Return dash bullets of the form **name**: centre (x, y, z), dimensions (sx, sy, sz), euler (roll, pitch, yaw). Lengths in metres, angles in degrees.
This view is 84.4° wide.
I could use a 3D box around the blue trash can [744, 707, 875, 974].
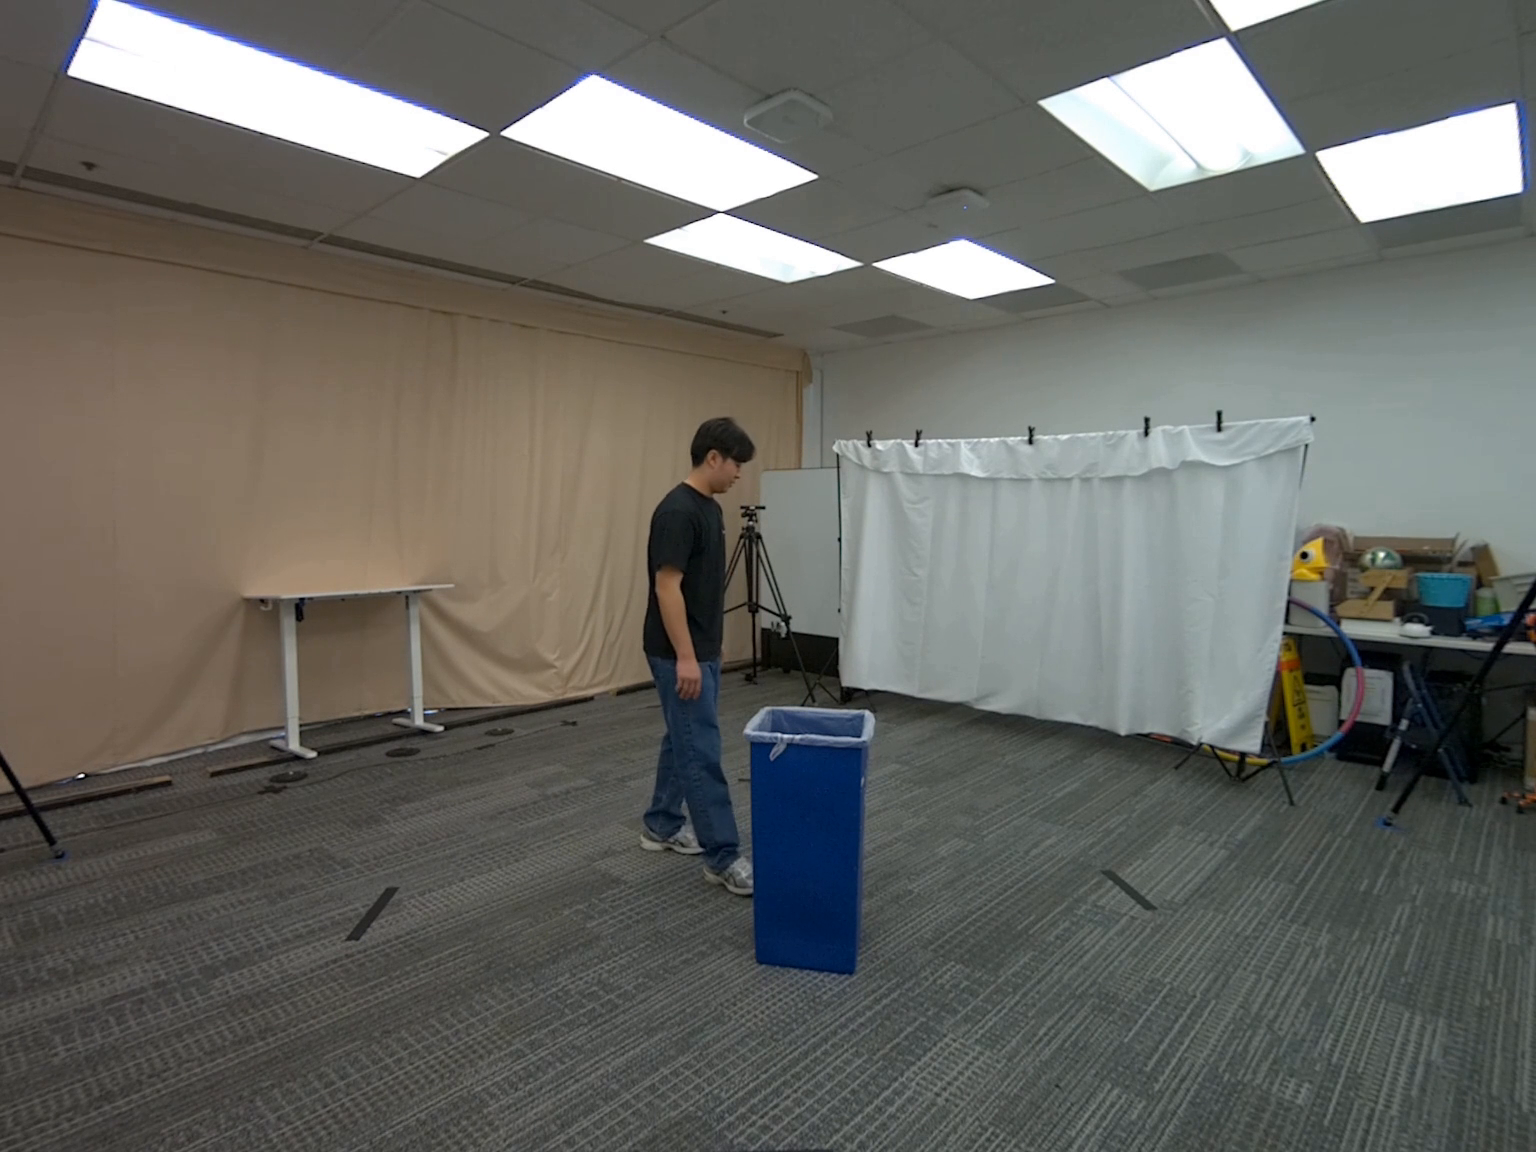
- **blue trash can**: centre (0.143, 0.812, 2.650), dimensions (0.383, 0.713, 0.369), euler (1, 2, 12)
